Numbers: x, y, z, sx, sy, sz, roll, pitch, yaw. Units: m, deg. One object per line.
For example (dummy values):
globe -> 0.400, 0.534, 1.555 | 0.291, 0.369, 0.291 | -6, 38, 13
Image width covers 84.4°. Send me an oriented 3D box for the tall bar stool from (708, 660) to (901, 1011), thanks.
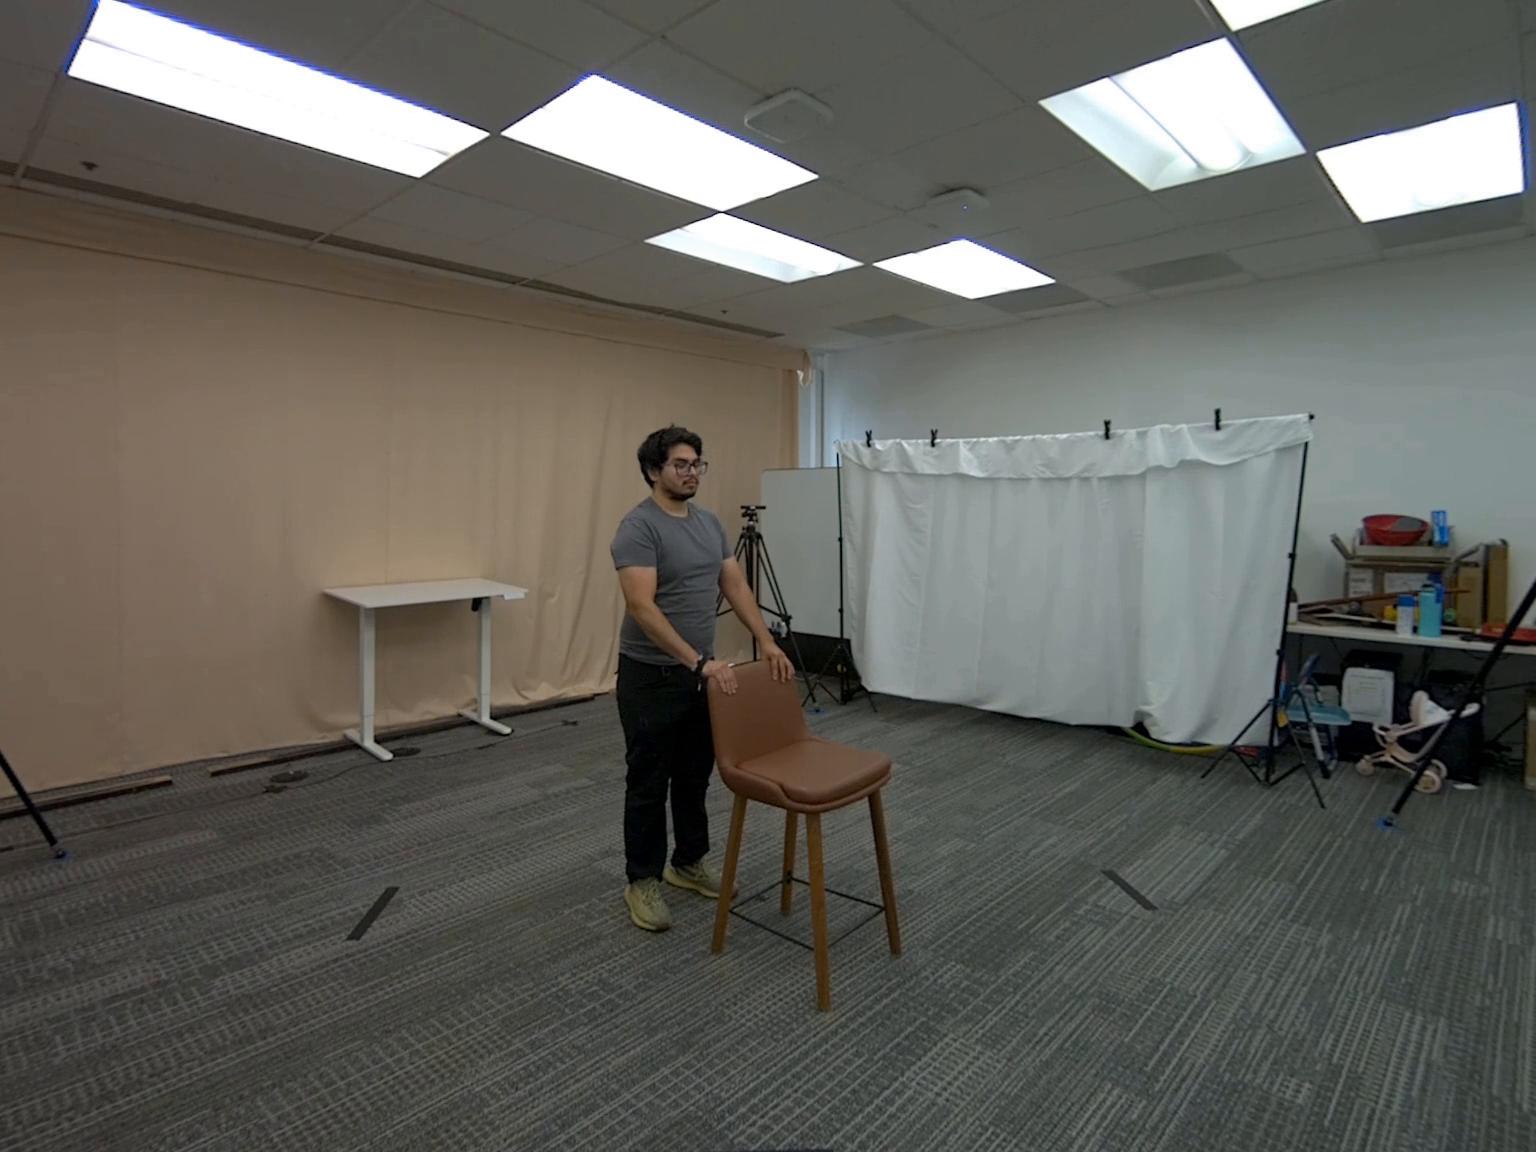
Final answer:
tall bar stool -> 0.105, 0.737, 2.593 | 0.483, 0.888, 0.443 | 0, 3, 42
